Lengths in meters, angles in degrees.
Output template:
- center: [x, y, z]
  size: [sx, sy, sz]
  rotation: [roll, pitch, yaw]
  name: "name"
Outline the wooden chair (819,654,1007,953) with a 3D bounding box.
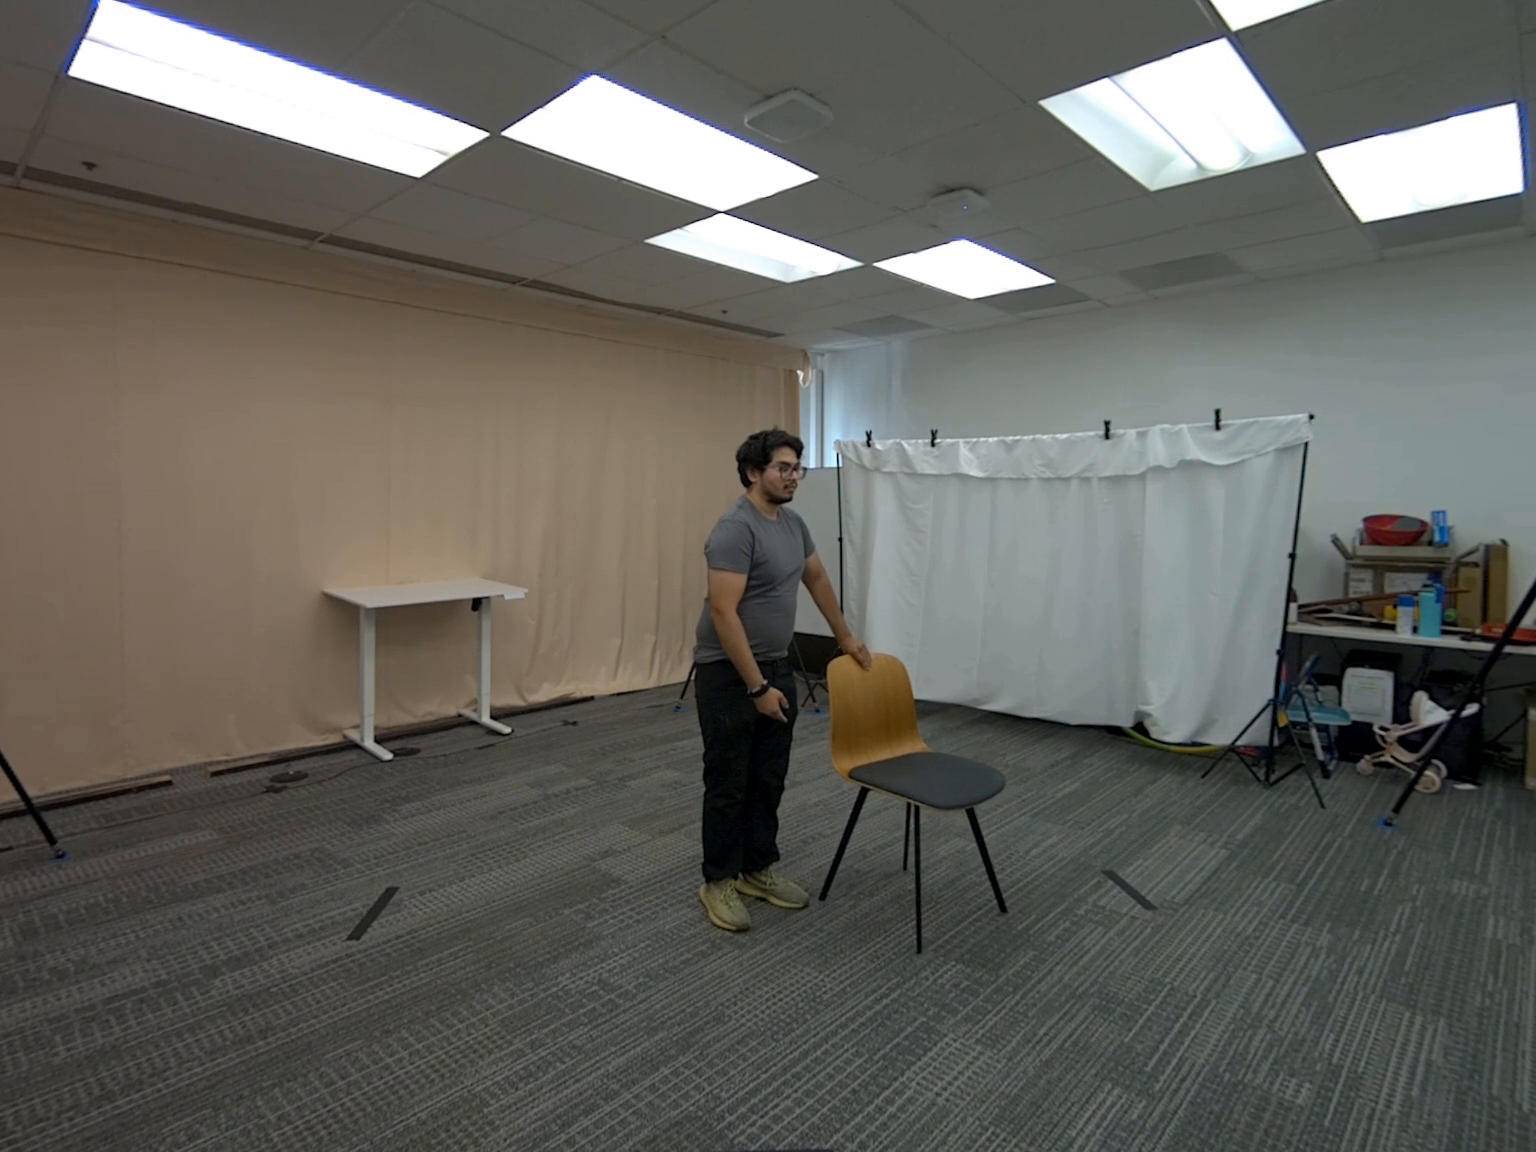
- center: [0.507, 0.725, 2.888]
  size: [0.464, 0.878, 0.539]
  rotation: [-2, -1, -38]
  name: "wooden chair"
